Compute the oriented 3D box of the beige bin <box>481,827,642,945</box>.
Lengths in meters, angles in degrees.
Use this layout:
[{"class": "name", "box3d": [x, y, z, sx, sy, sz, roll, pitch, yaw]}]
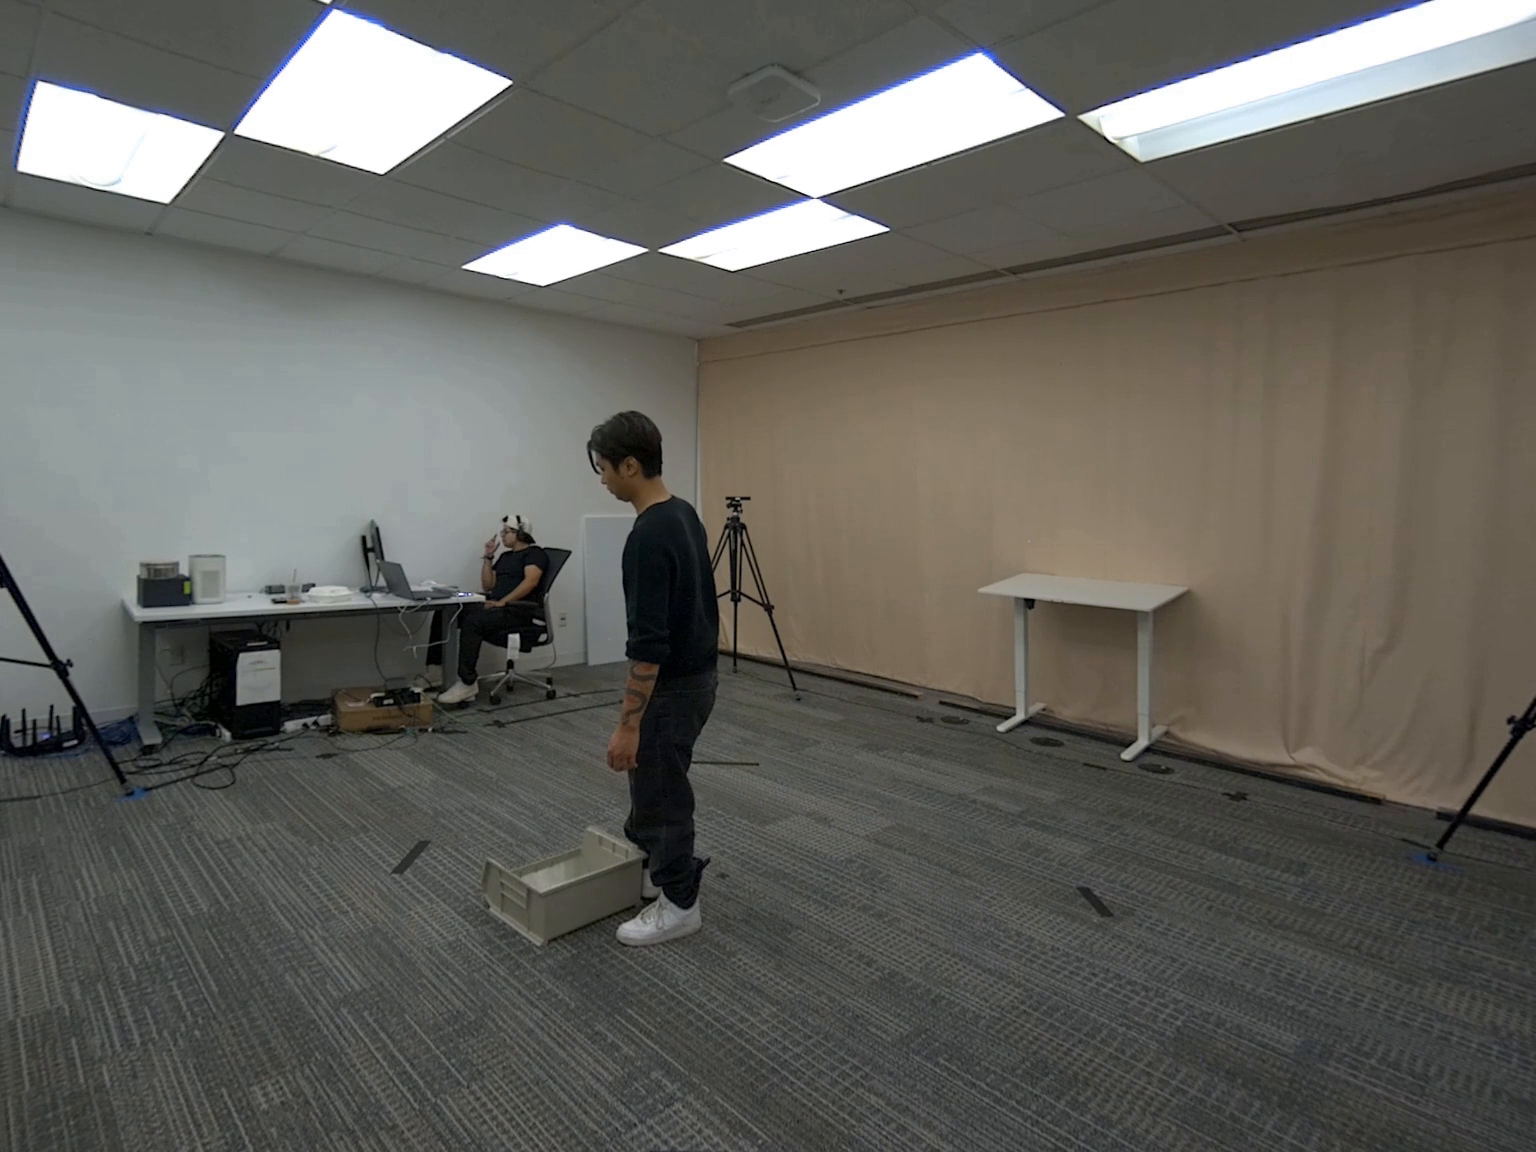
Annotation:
[{"class": "beige bin", "box3d": [-0.698, 1.032, 2.845, 0.387, 0.188, 0.412, 8, 8, 43]}]
